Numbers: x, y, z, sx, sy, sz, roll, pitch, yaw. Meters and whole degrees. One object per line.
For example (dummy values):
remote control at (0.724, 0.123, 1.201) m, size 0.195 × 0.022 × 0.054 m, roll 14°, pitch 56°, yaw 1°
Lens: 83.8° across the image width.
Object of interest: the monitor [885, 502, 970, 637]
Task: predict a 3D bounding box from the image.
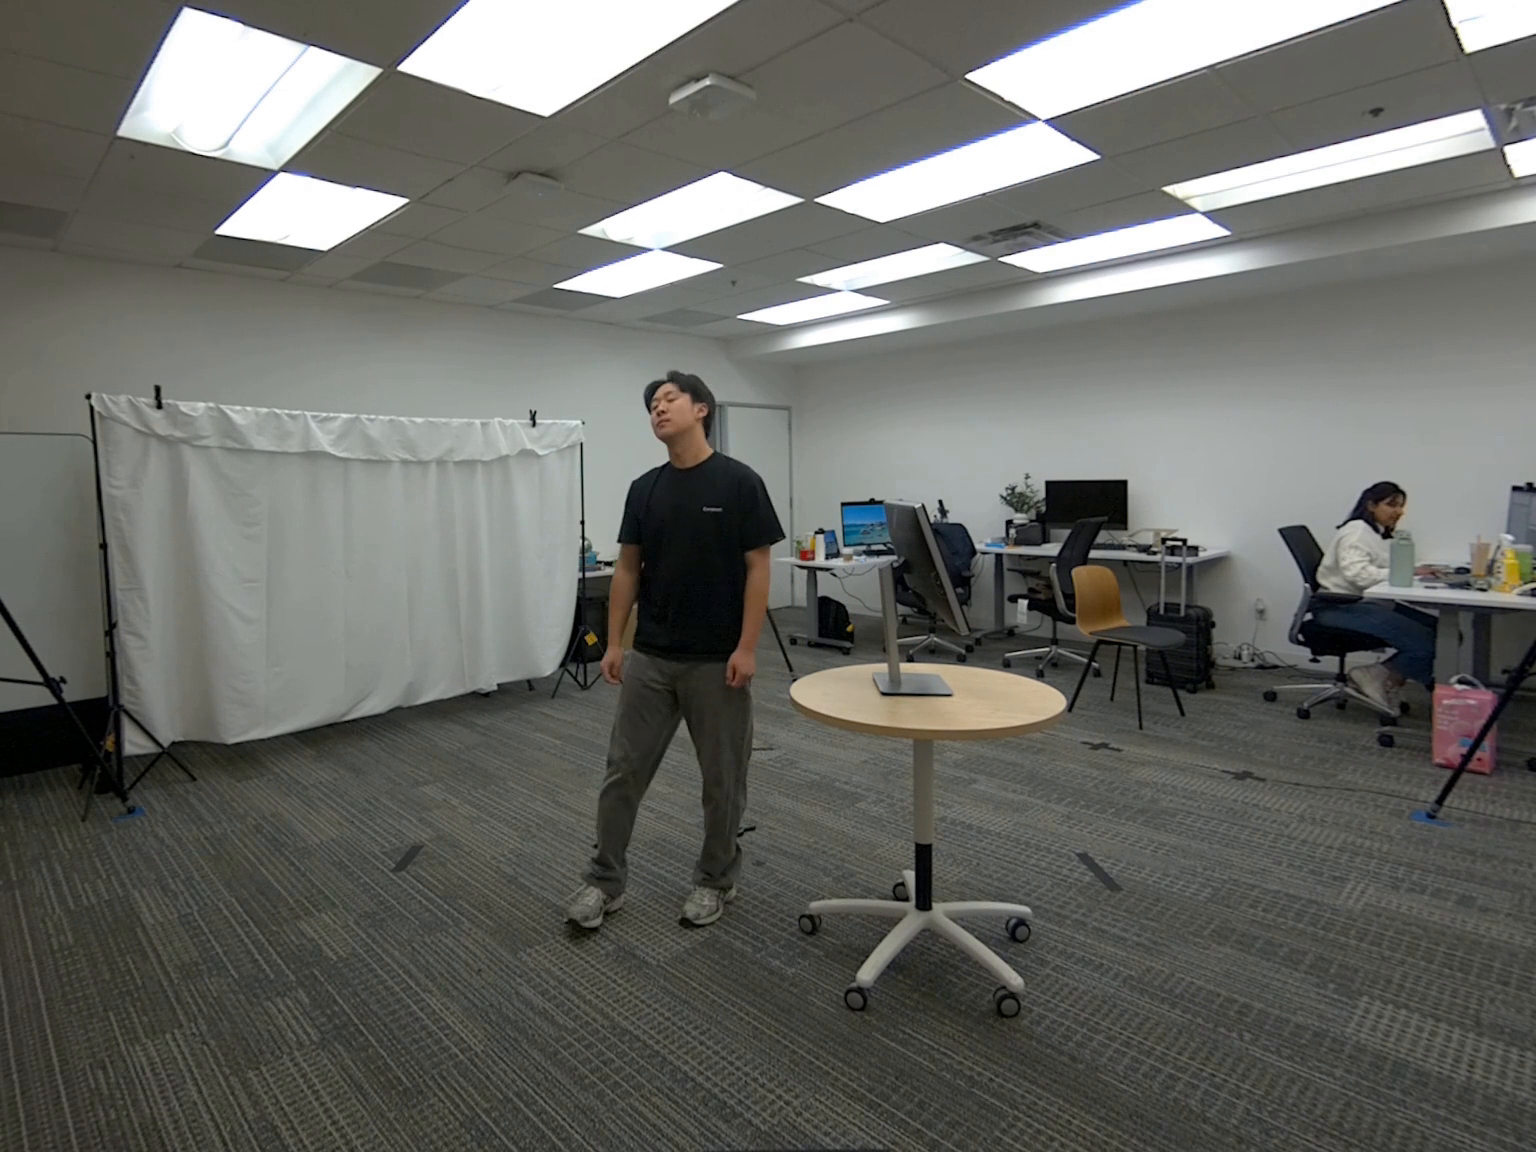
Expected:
monitor at (0.427, 0.059, 2.503) m, size 0.223 × 0.564 × 0.562 m, roll -1°, pitch 5°, yaw 3°
